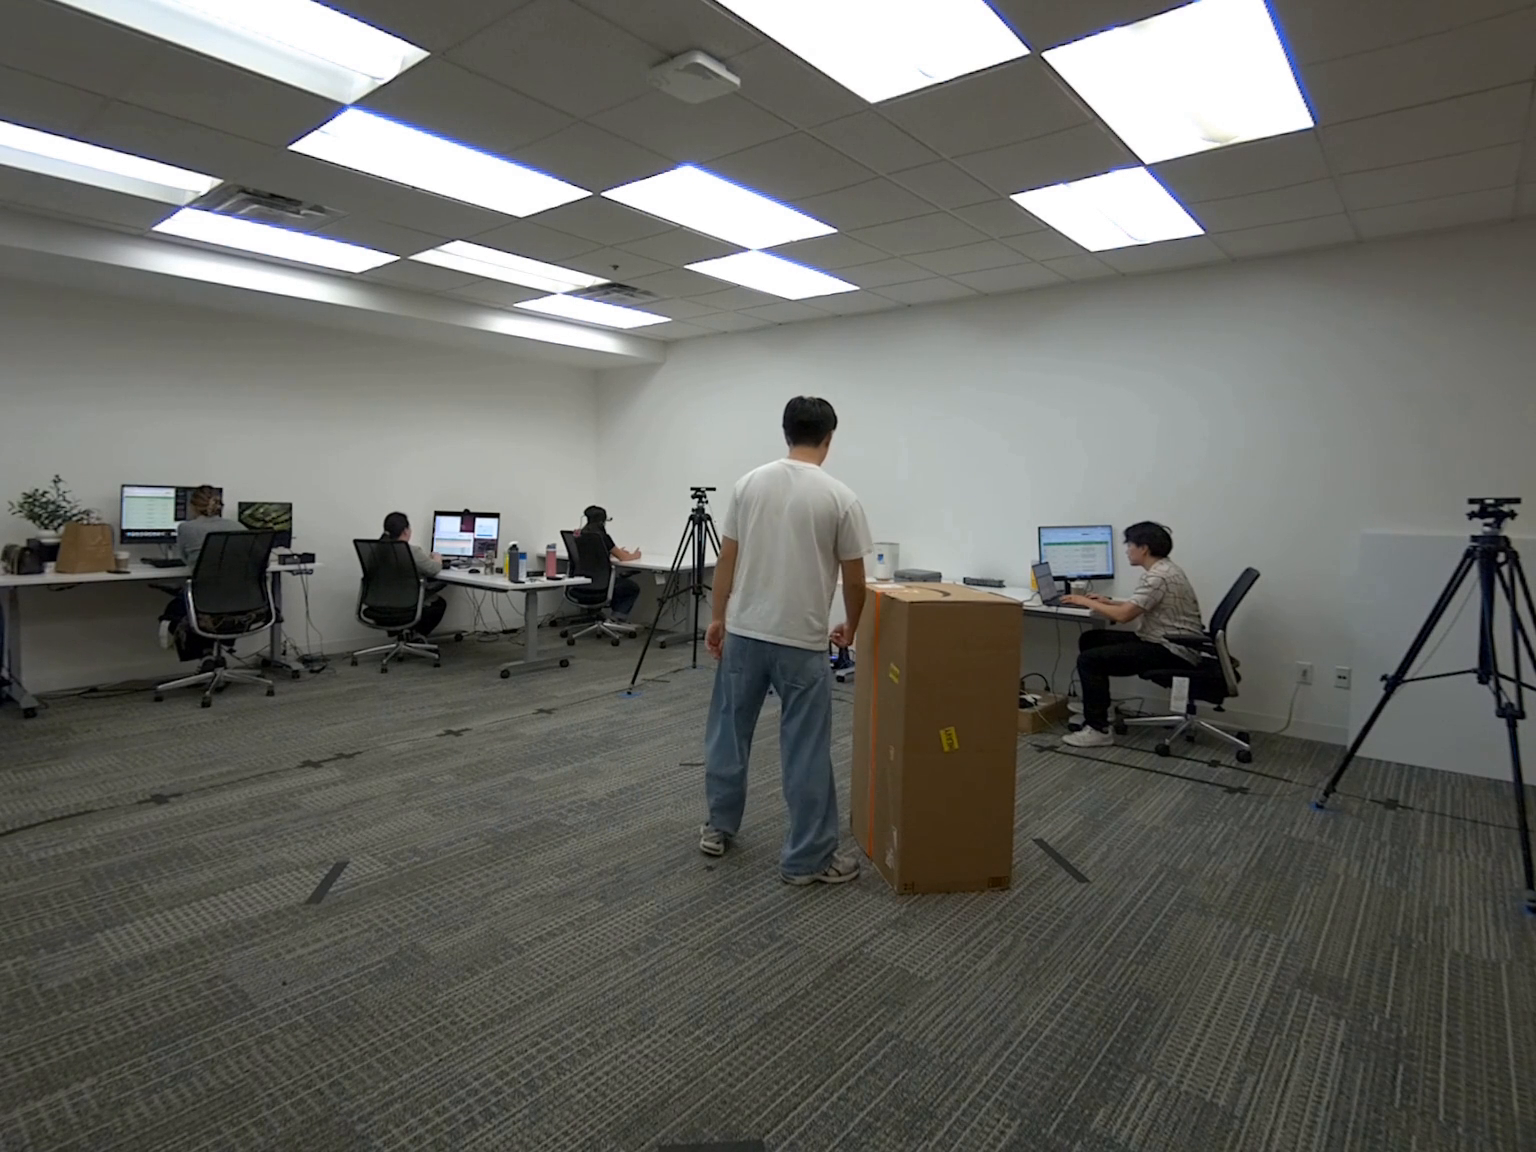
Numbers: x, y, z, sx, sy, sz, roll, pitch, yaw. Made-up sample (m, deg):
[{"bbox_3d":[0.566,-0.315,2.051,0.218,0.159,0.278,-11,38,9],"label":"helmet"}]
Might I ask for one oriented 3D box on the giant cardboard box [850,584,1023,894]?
[{"bbox_3d":[0.605,0.564,3.226,0.421,1.022,0.586,1,4,-11],"label":"giant cardboard box"}]
